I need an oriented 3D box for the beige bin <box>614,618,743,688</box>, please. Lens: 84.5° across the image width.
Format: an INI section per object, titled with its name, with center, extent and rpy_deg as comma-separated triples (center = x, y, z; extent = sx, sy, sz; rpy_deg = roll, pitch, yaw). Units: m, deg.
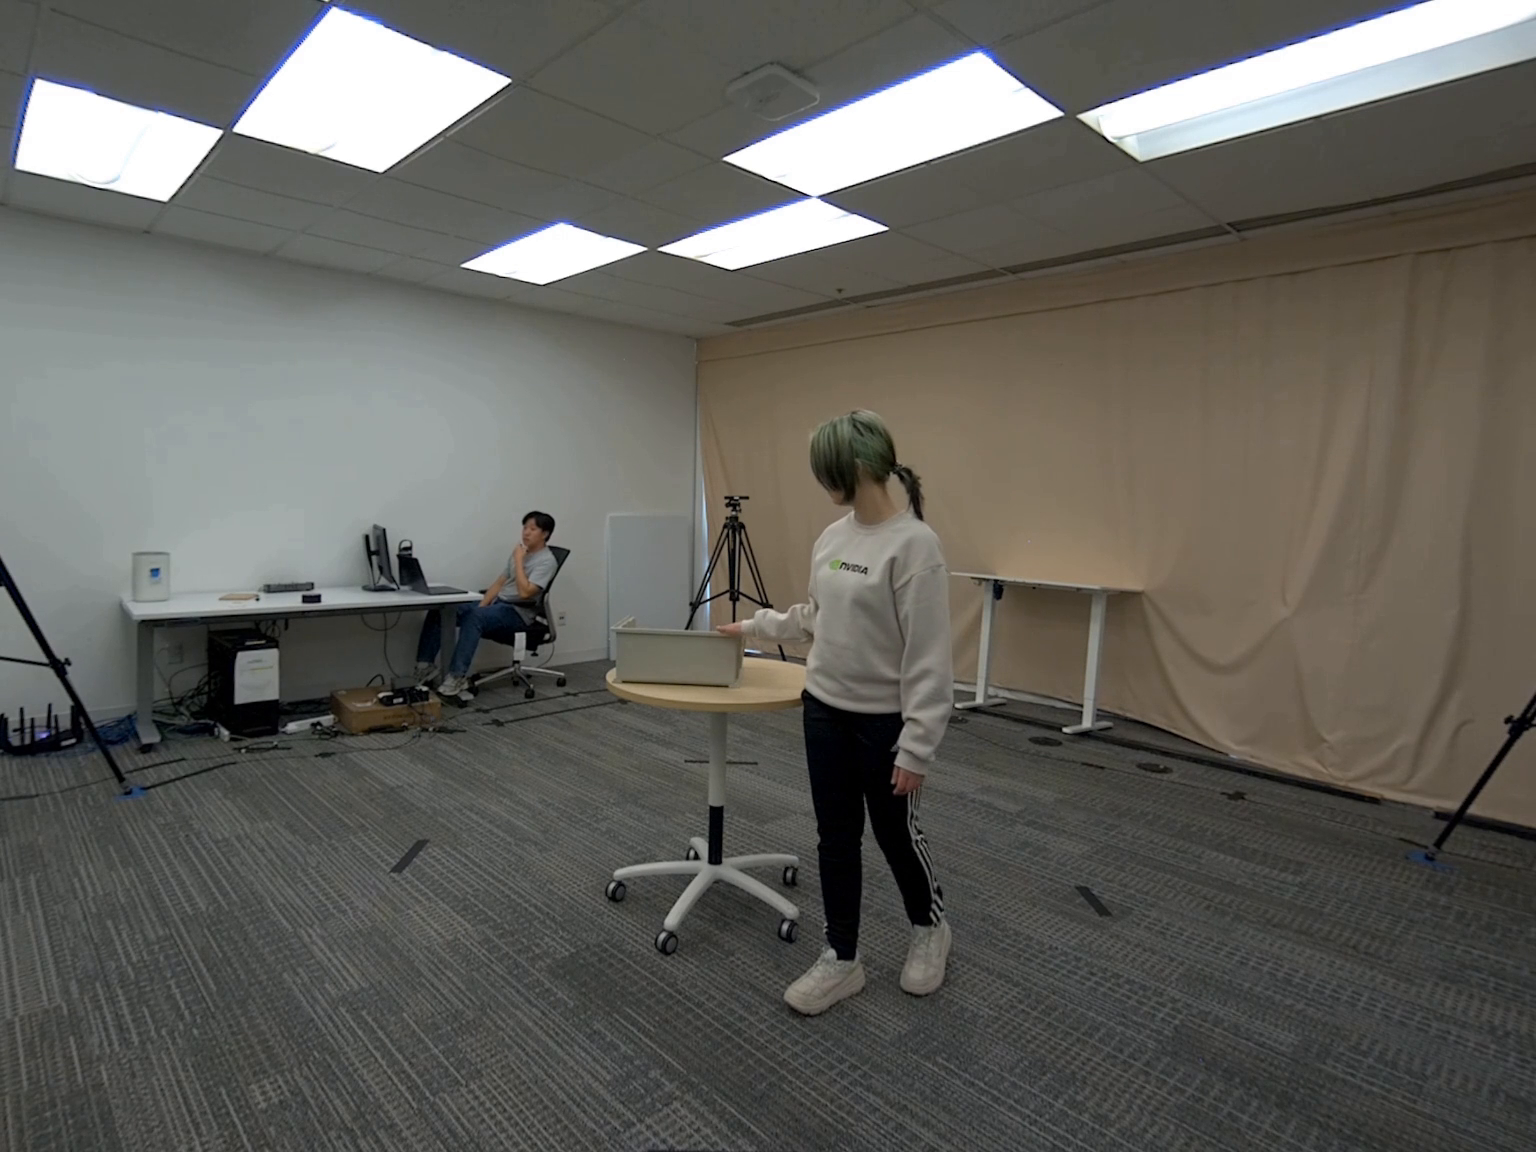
[beige bin]
center = -0.297, 0.246, 2.856
extent = 0.424, 0.188, 0.378
rpy_deg = 2, 6, 3
